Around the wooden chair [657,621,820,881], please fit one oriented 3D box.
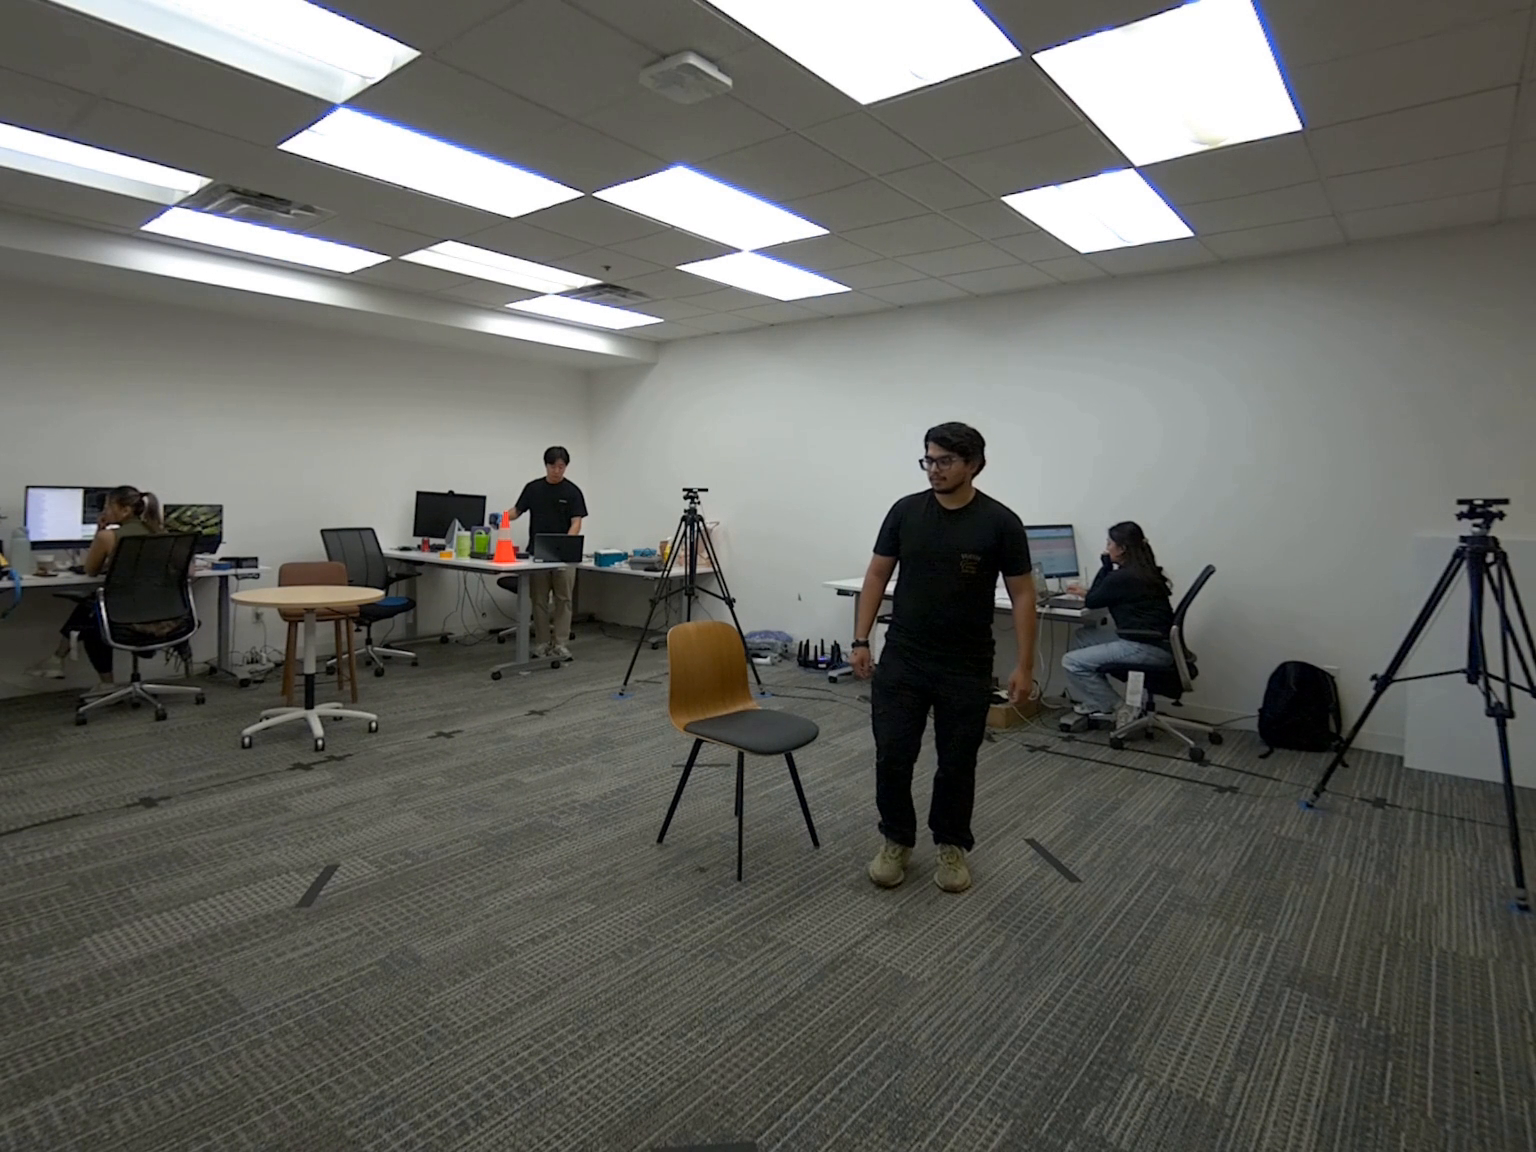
[{"bbox_3d":[-0.112,0.626,3.299,0.539,0.878,0.463,-2,0,44],"label":"wooden chair"}]
